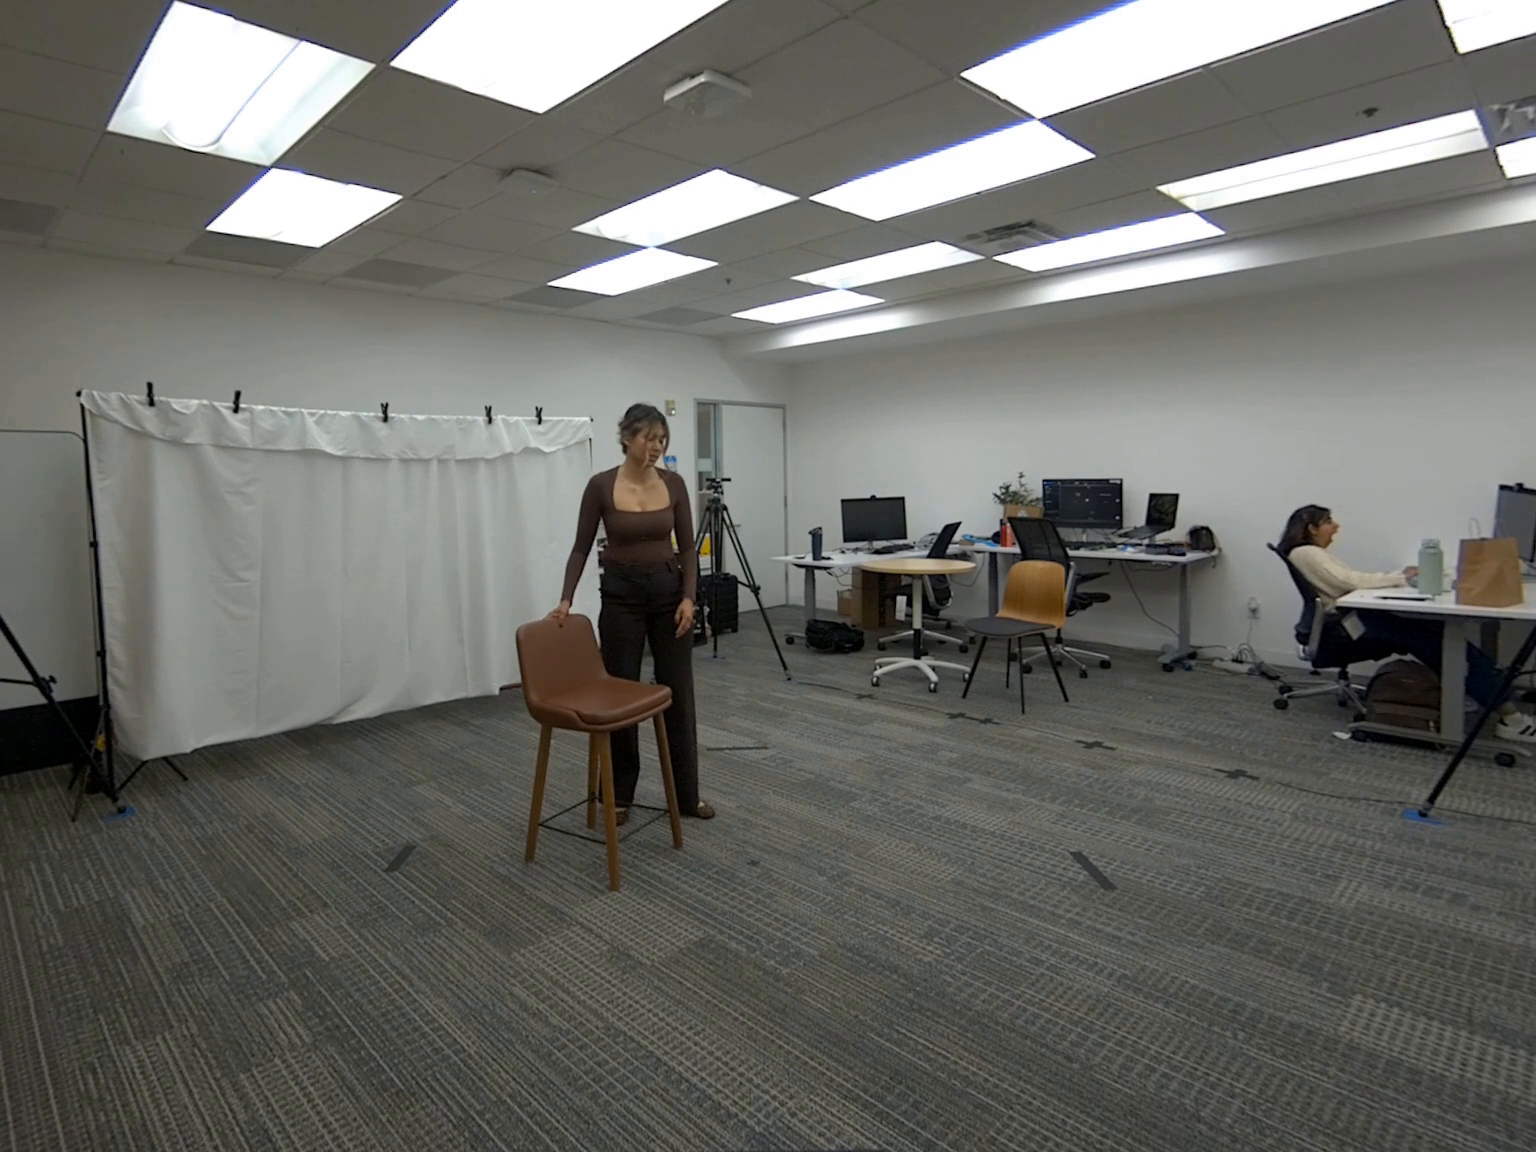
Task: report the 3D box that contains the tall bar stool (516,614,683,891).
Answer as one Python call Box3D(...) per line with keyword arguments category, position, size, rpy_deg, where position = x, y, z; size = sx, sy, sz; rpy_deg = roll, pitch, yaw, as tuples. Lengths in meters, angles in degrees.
Box3D(category="tall bar stool", position=(-0.637, 0.610, 3.172), size=(0.480, 0.888, 0.446), rpy_deg=(-1, 3, 31))
